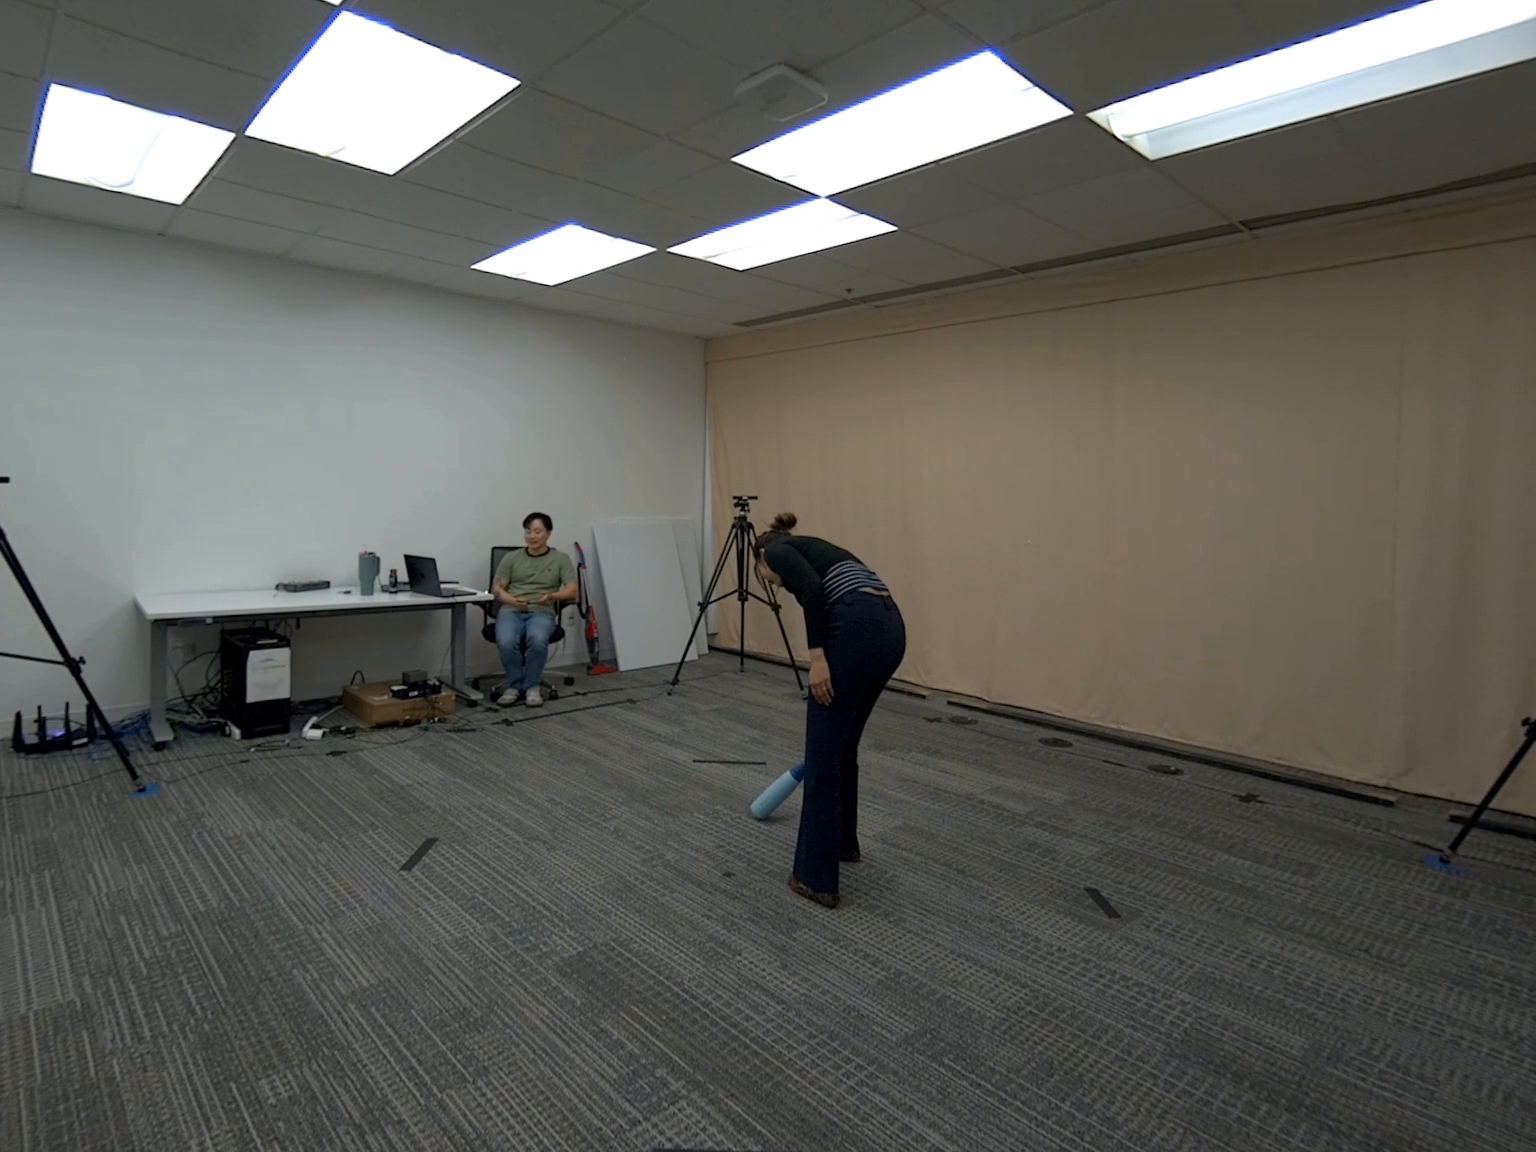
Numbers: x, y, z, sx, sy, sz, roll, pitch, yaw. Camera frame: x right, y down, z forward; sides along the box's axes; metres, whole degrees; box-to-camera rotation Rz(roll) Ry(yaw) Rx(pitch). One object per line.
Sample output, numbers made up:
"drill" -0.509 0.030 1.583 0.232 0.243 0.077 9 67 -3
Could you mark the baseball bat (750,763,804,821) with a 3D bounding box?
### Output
"baseball bat" 0.124 0.846 3.600 0.088 0.543 0.090 40 12 -12
